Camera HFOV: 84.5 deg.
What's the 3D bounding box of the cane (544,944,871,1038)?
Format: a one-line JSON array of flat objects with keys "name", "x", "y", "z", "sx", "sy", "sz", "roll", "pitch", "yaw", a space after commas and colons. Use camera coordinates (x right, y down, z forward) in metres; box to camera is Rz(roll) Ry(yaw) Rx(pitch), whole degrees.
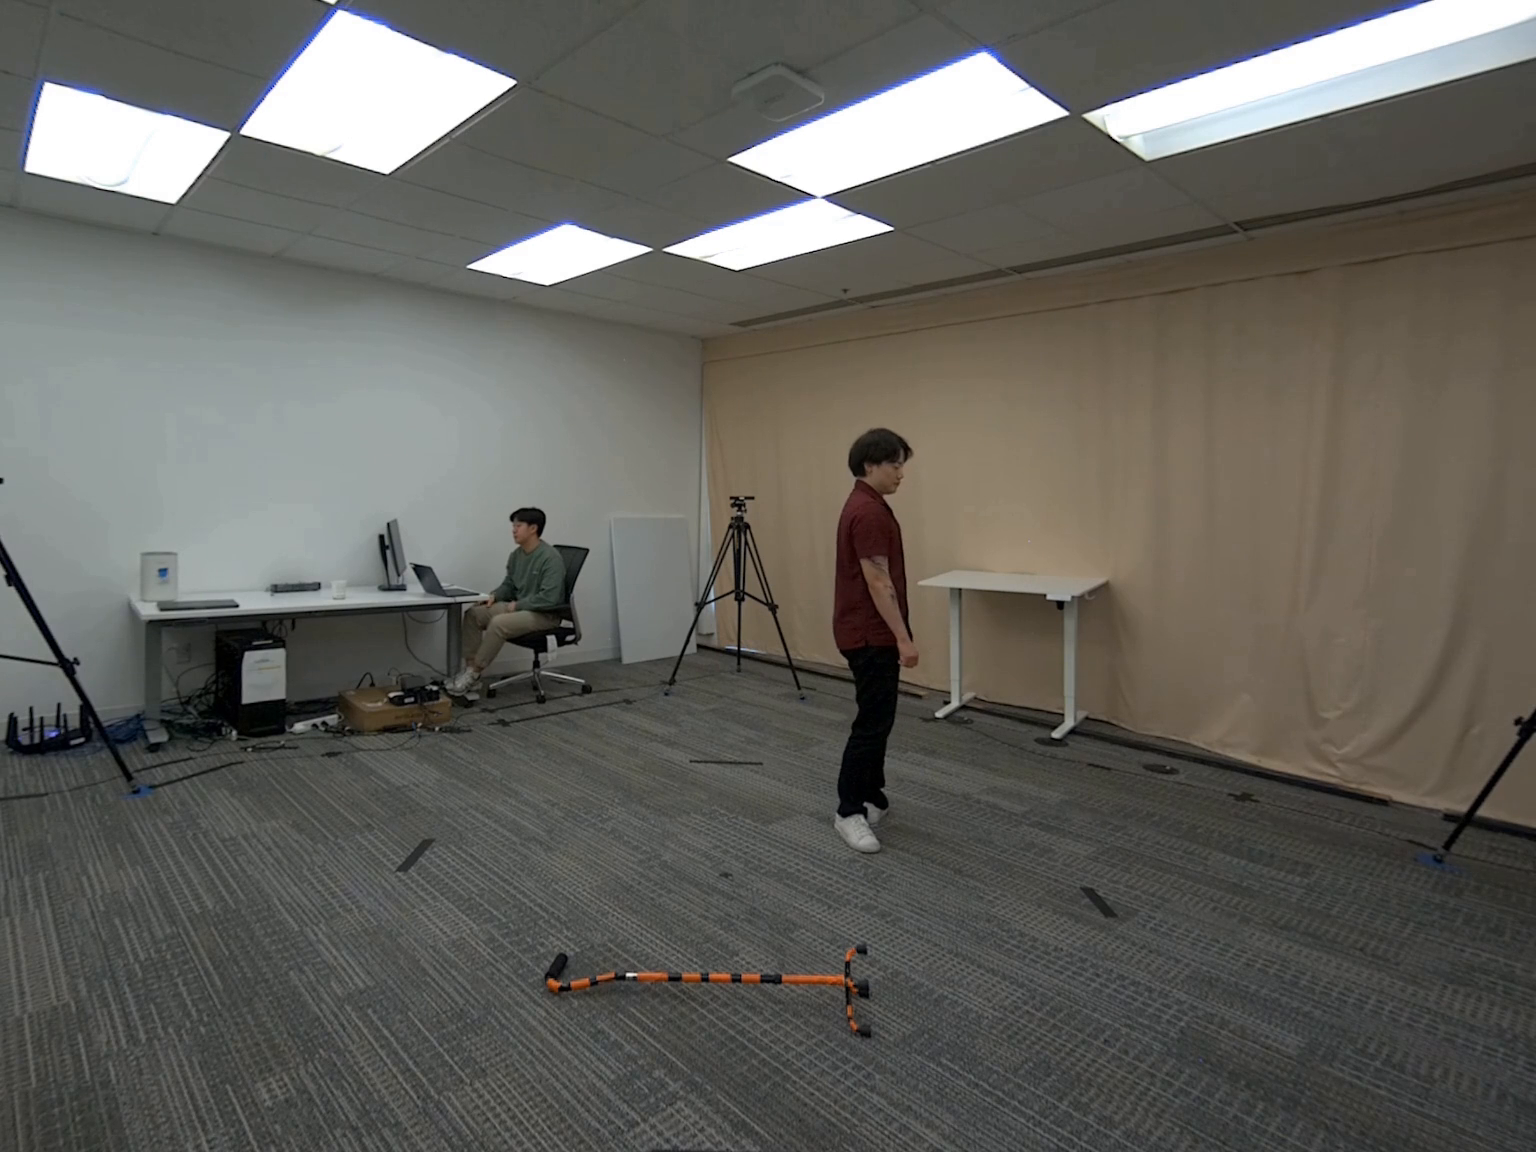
[{"name": "cane", "x": -0.185, "y": 1.130, "z": 2.336, "sx": 0.913, "sy": 0.151, "sz": 0.206, "roll": -2, "pitch": 4, "yaw": 8}]
